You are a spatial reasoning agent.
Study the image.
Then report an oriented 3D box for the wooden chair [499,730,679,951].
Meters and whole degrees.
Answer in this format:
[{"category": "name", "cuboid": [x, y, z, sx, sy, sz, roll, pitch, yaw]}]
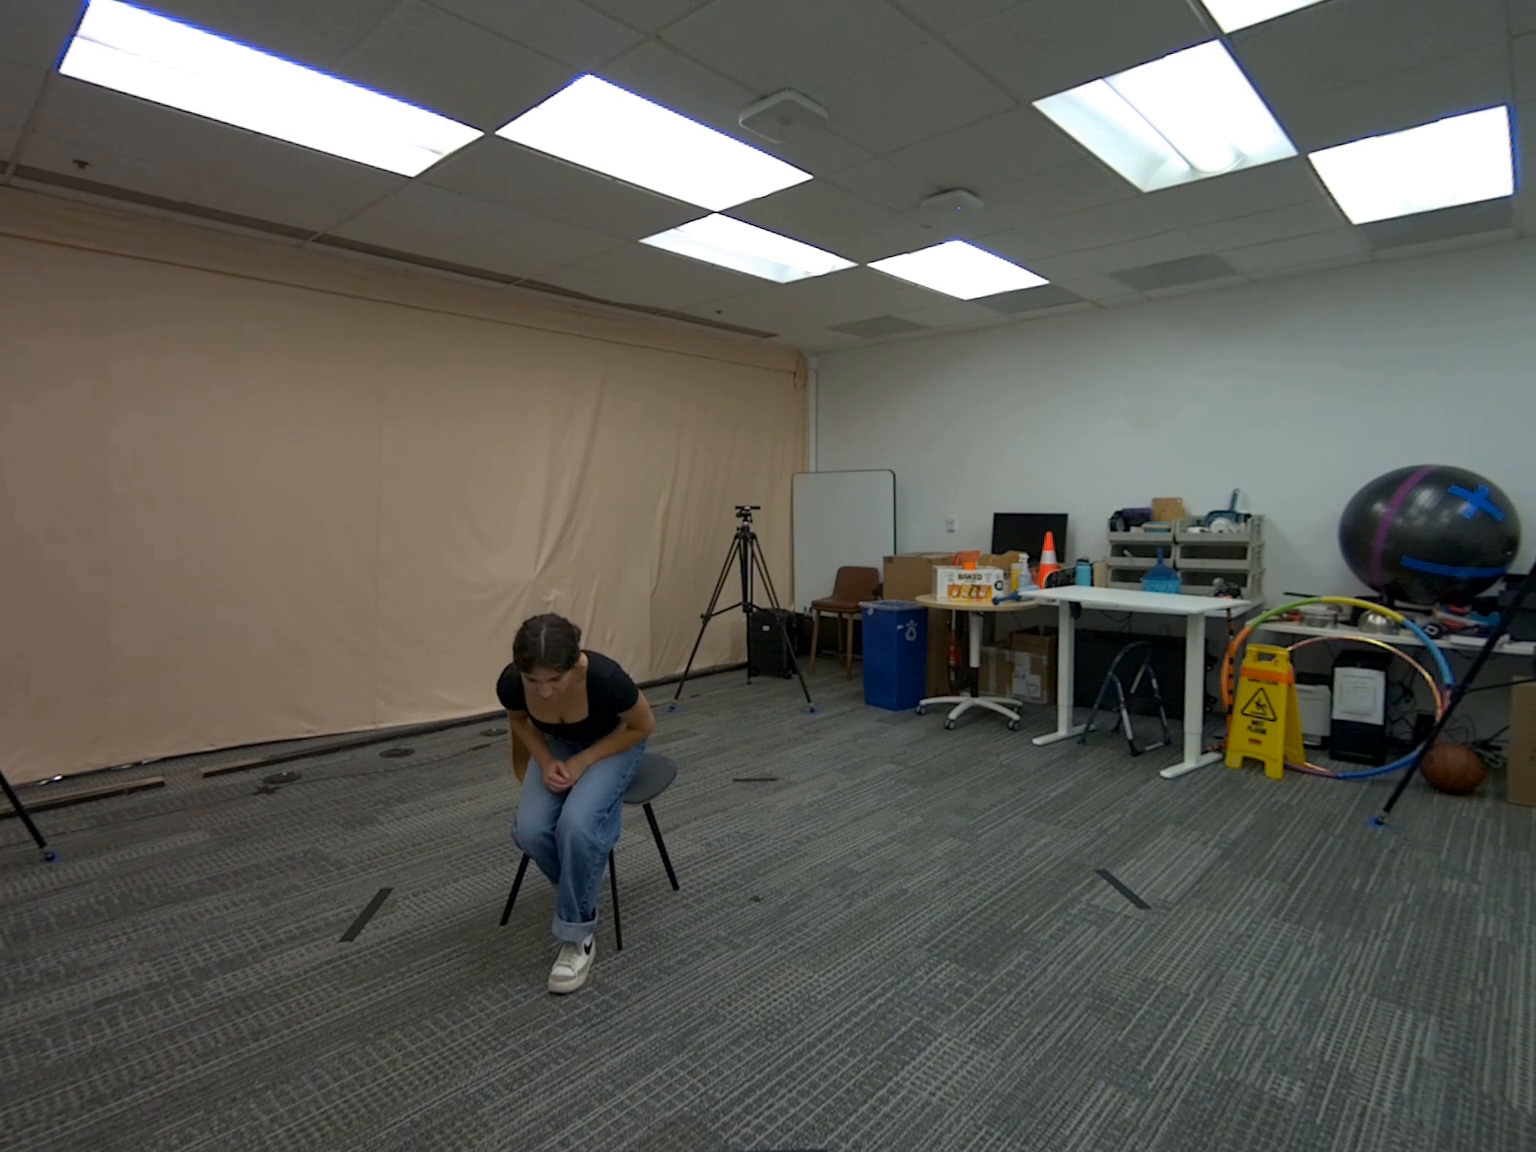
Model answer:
[{"category": "wooden chair", "cuboid": [-0.599, 0.733, 2.905, 0.534, 0.875, 0.469, -3, 3, 20]}]
